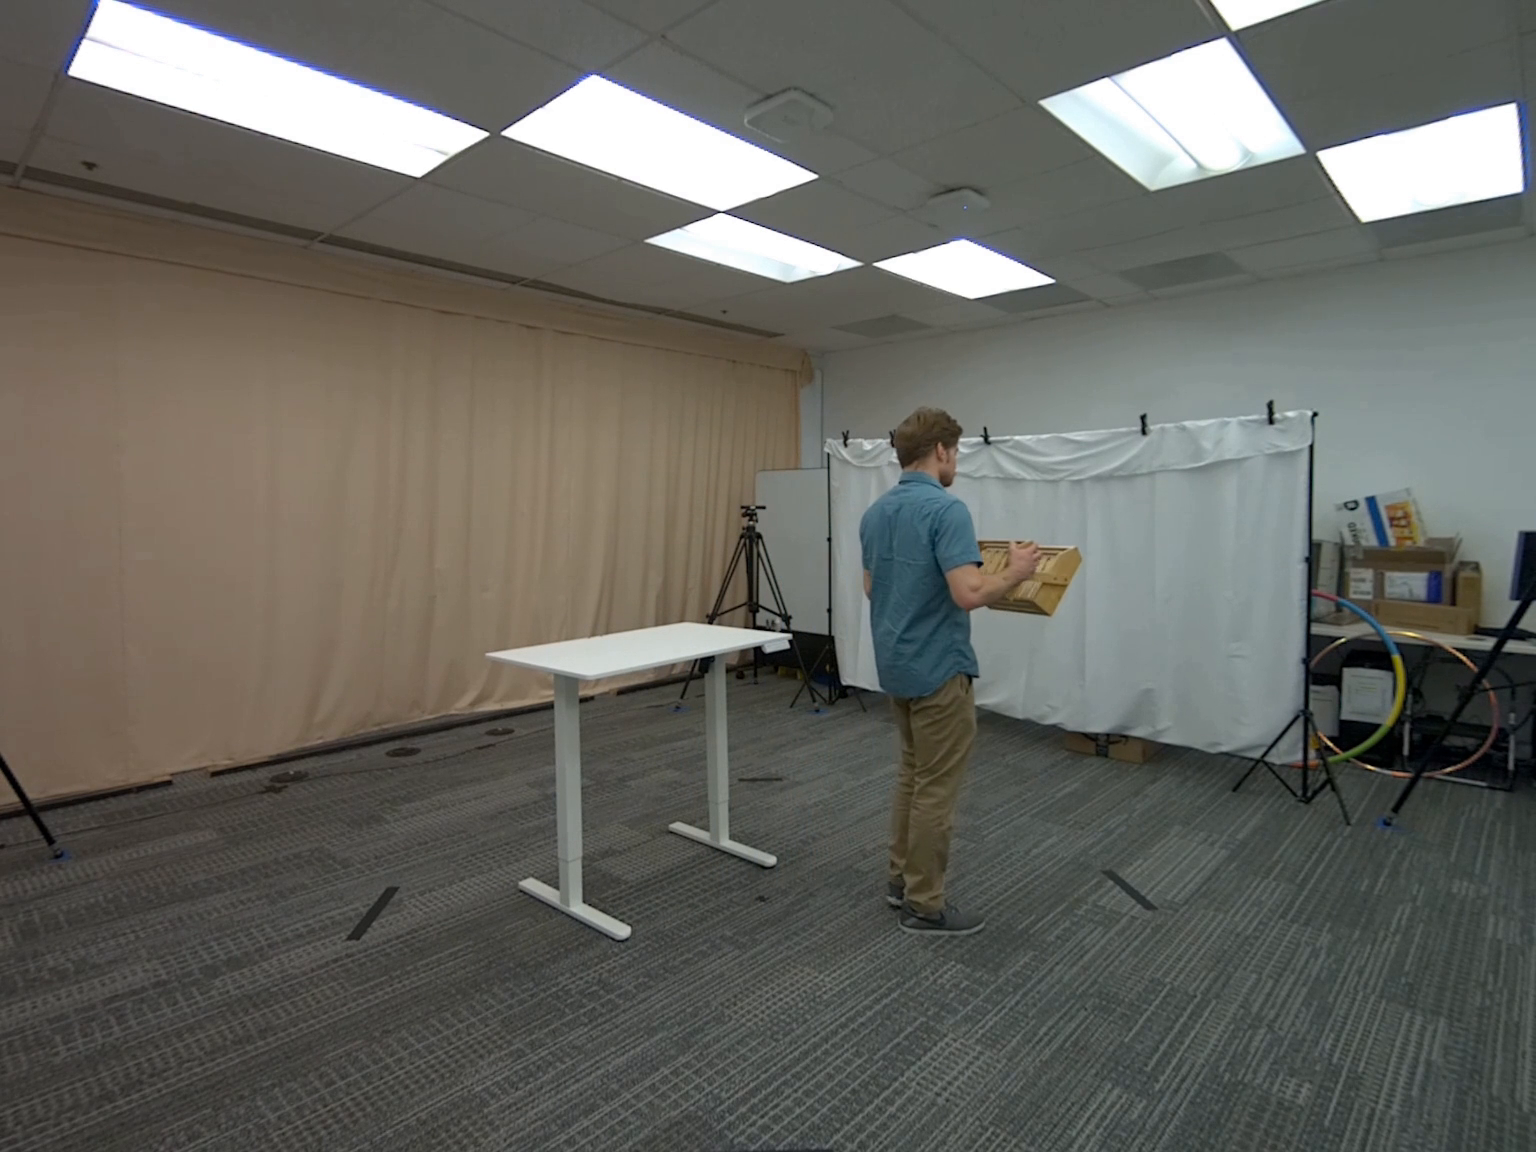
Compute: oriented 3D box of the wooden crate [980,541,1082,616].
[{"bbox_3d":[0.829,-0.027,2.884,0.267,0.302,0.333,37,-13,-22],"label":"wooden crate"}]
